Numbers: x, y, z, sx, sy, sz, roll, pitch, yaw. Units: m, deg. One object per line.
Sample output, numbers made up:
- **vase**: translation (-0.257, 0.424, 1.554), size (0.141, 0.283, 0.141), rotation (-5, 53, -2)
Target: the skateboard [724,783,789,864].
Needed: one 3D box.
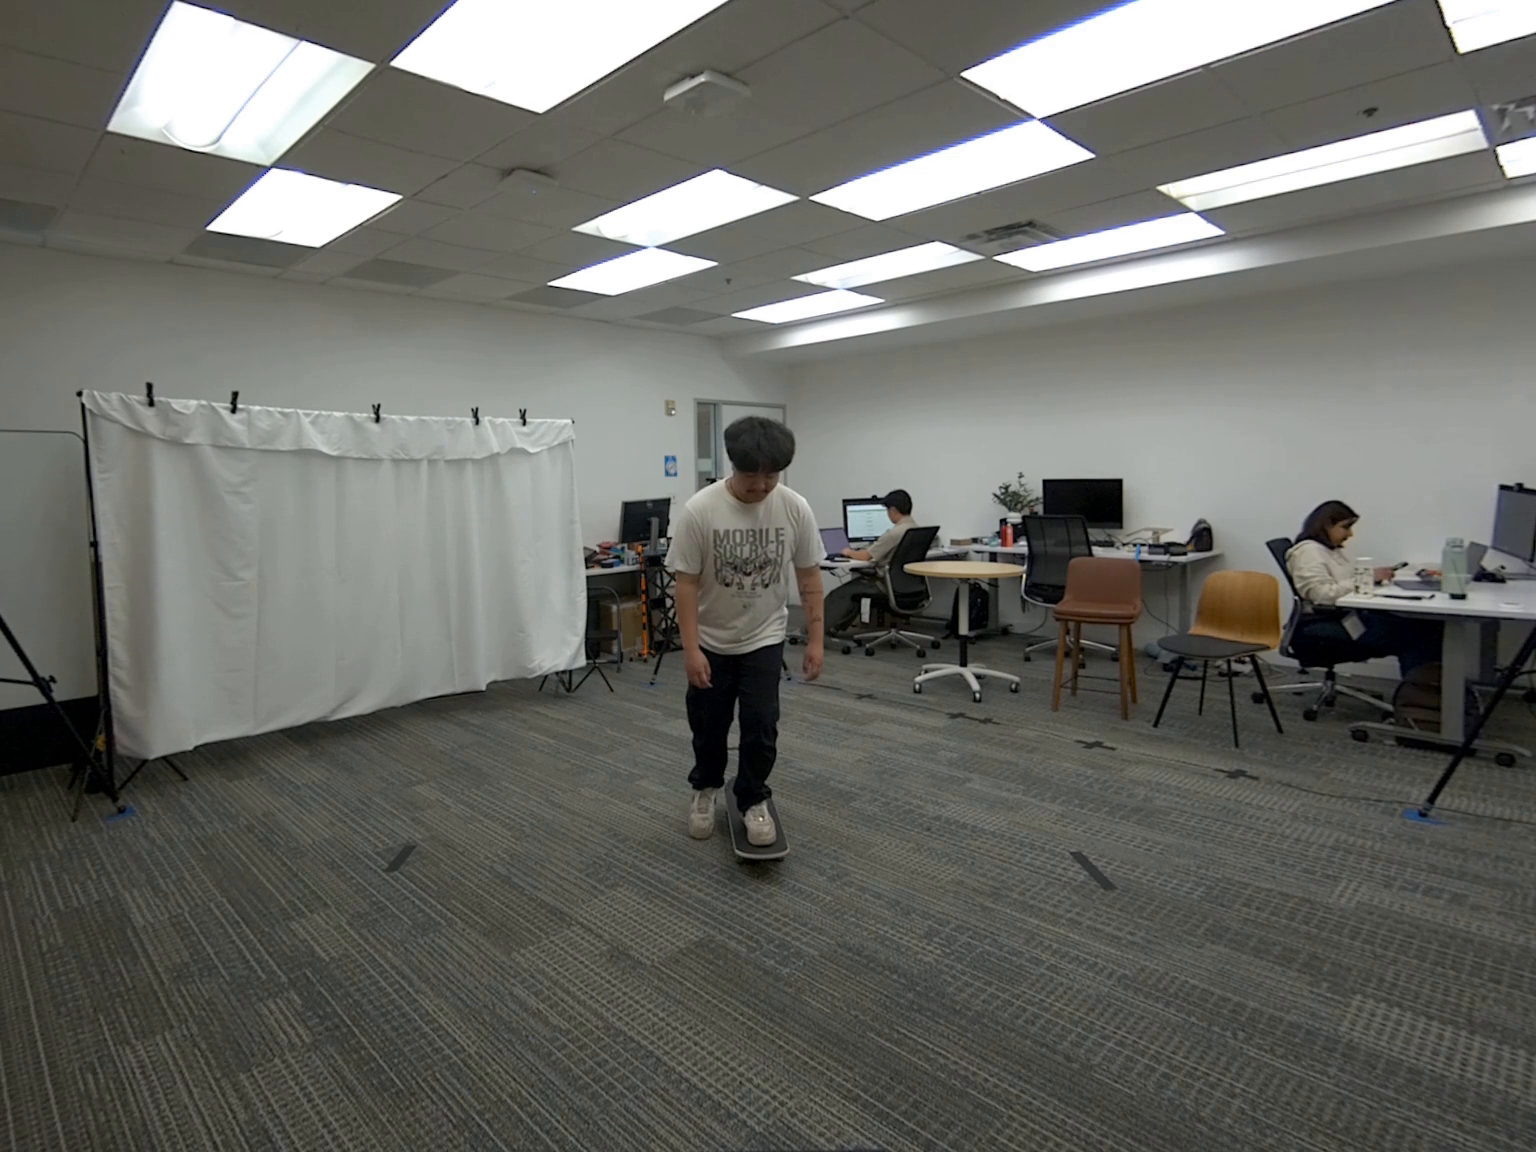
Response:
- **skateboard**: translation (-0.058, 0.958, 3.317), size (0.192, 0.110, 0.793), rotation (-2, 7, -6)
